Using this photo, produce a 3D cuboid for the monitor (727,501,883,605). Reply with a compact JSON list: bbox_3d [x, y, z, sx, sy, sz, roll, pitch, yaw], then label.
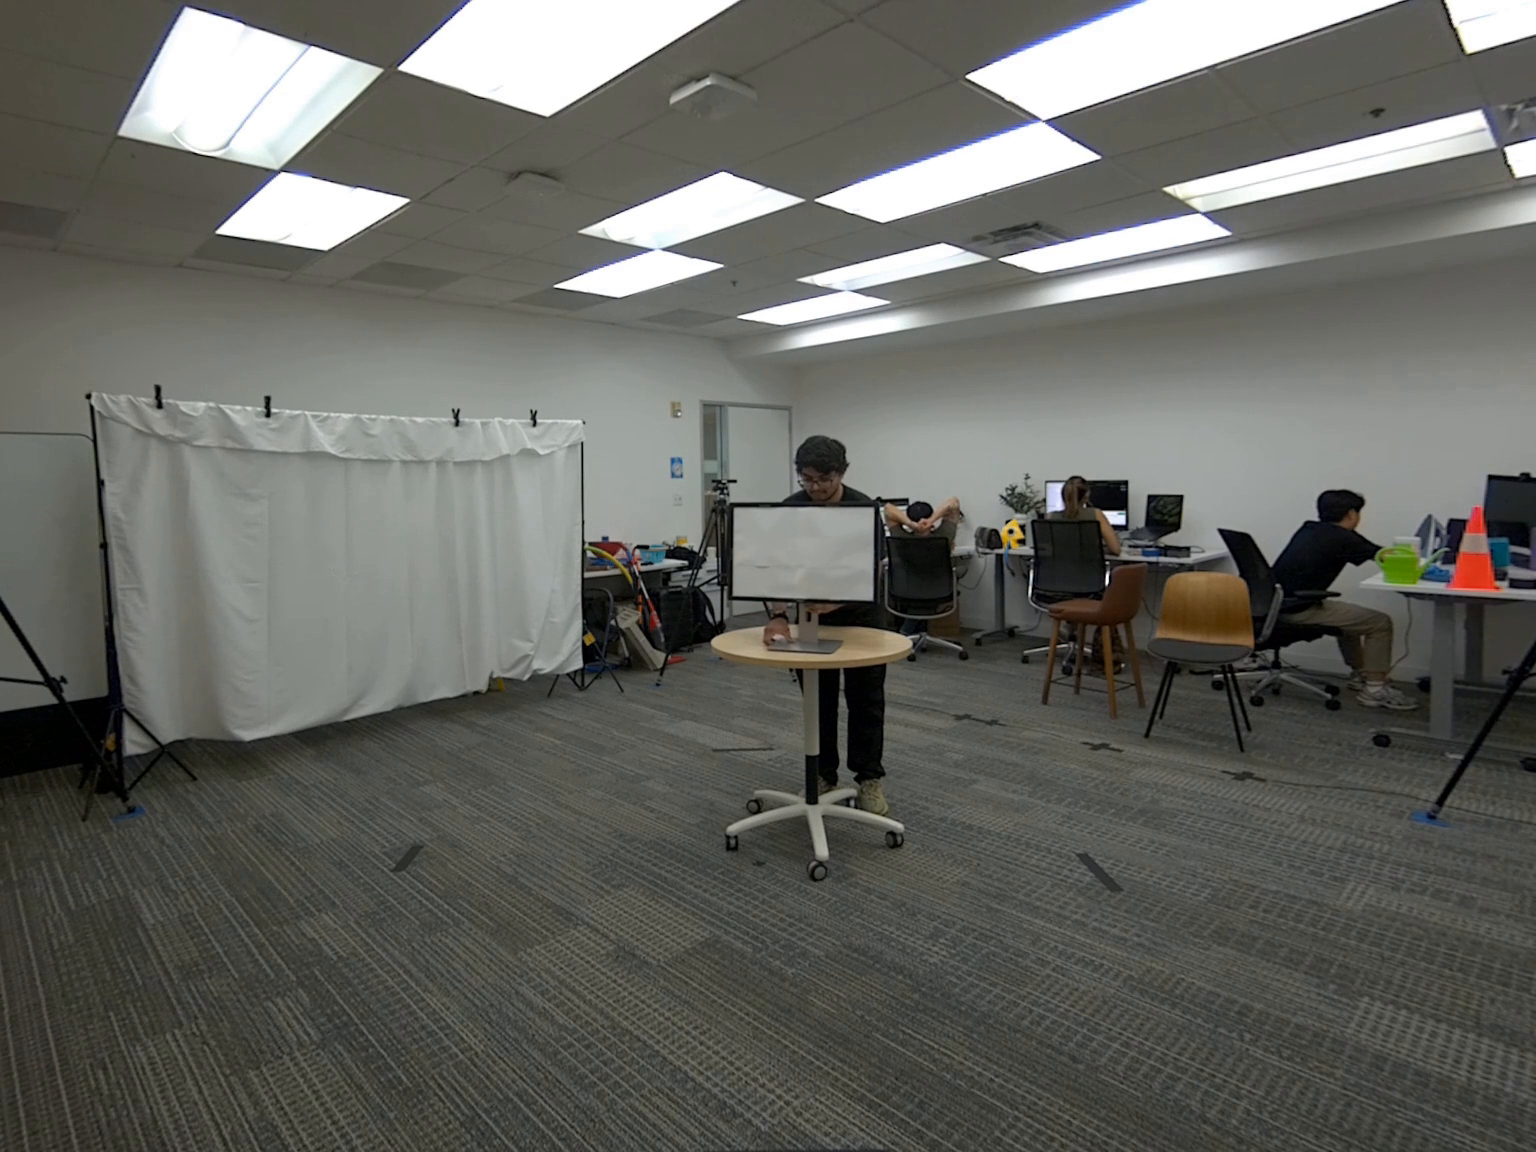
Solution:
[{"bbox_3d":[0.138,0.001,3.150,0.576,0.553,0.206,1,2,21],"label":"monitor"}]
